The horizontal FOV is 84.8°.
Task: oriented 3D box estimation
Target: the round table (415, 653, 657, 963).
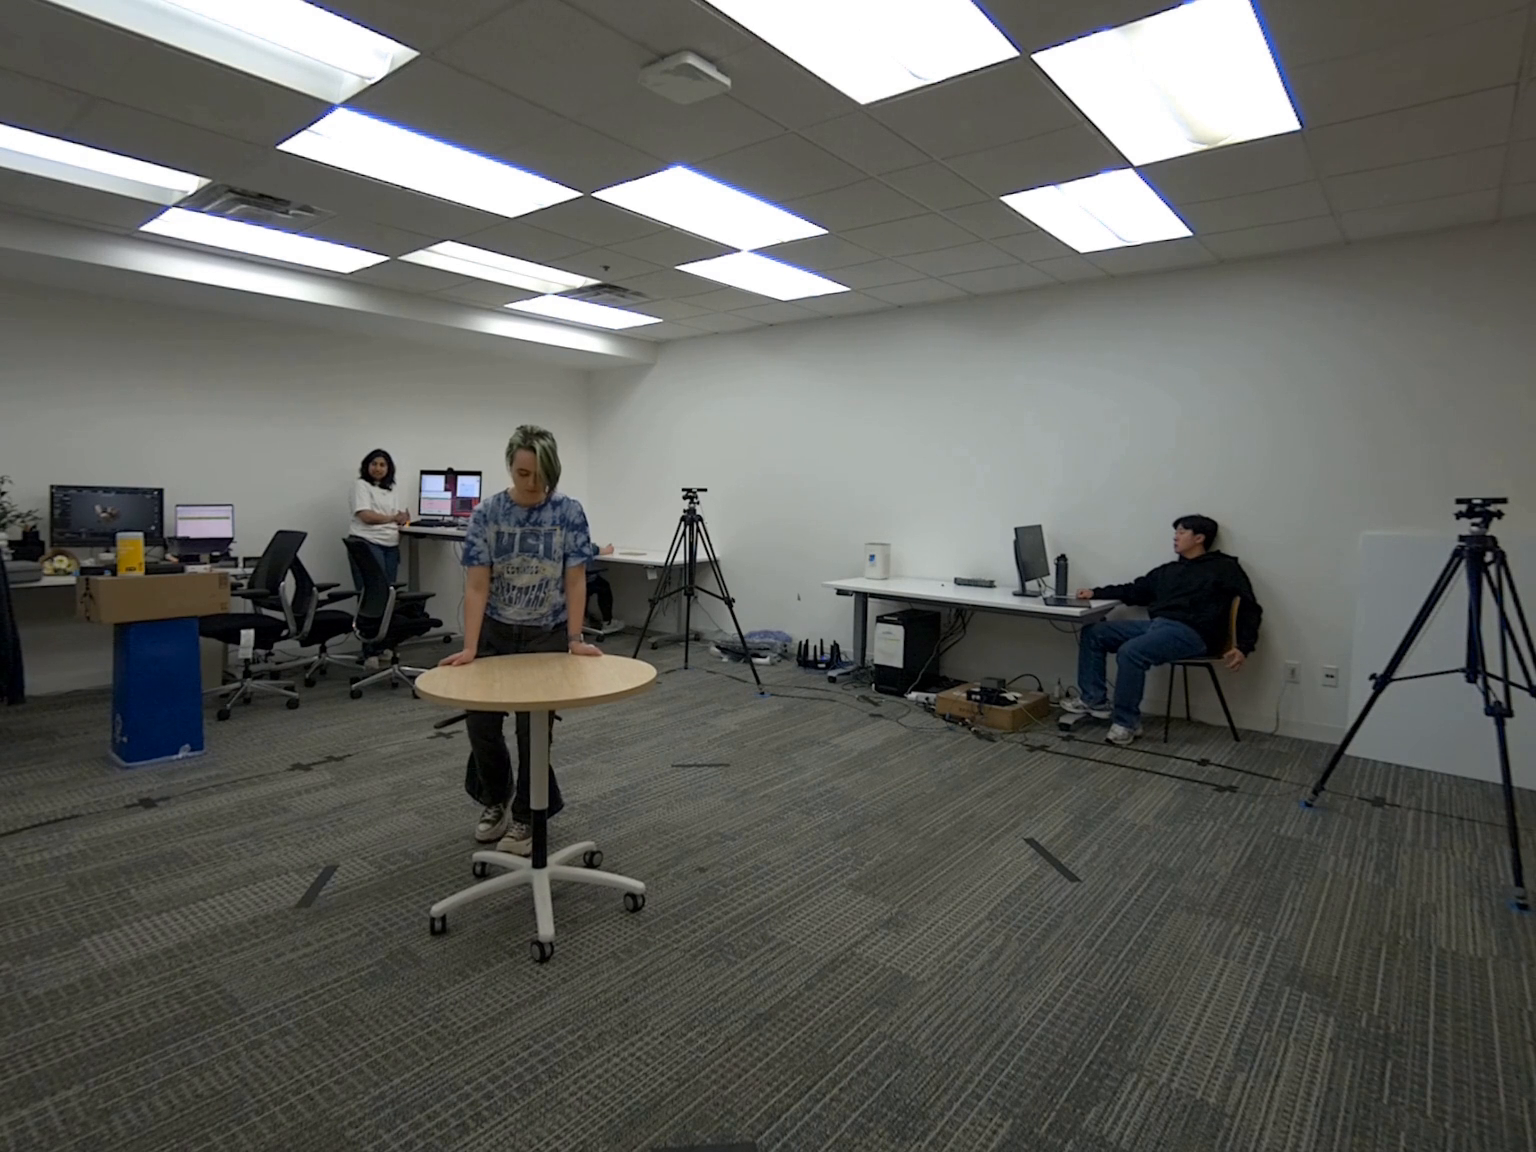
[{"bbox_3d":[-0.760,0.707,2.786,0.763,0.791,0.768,0,4,-2],"label":"round table"}]
